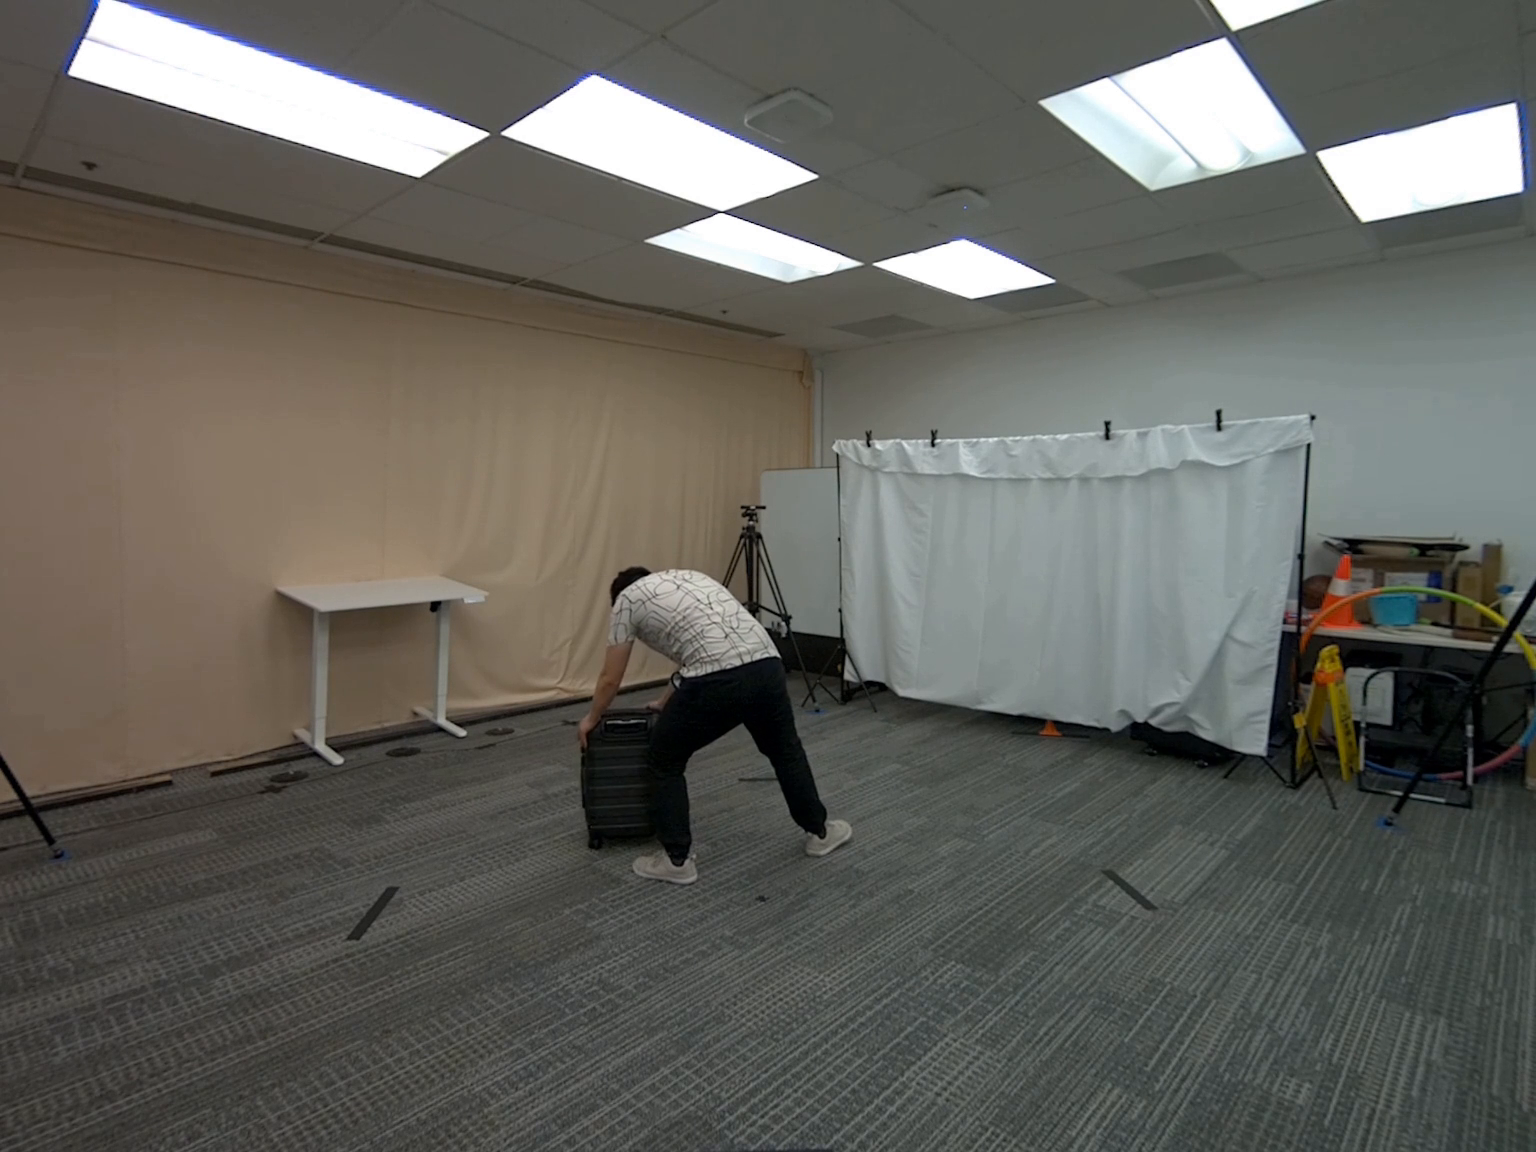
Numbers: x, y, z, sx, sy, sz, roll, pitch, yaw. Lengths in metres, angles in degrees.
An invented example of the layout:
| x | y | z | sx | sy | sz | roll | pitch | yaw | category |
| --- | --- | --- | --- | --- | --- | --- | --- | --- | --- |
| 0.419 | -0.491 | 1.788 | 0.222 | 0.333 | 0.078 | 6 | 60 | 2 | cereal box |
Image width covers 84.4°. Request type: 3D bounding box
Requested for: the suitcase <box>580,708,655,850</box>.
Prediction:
| x | y | z | sx | sy | sz | roll | pitch | yaw | category |
| --- | --- | --- | --- | --- | --- | --- | --- | --- | --- |
| -0.593 | 0.828 | 3.528 | 0.373 | 0.548 | 0.251 | -1 | 5 | -7 | suitcase |
